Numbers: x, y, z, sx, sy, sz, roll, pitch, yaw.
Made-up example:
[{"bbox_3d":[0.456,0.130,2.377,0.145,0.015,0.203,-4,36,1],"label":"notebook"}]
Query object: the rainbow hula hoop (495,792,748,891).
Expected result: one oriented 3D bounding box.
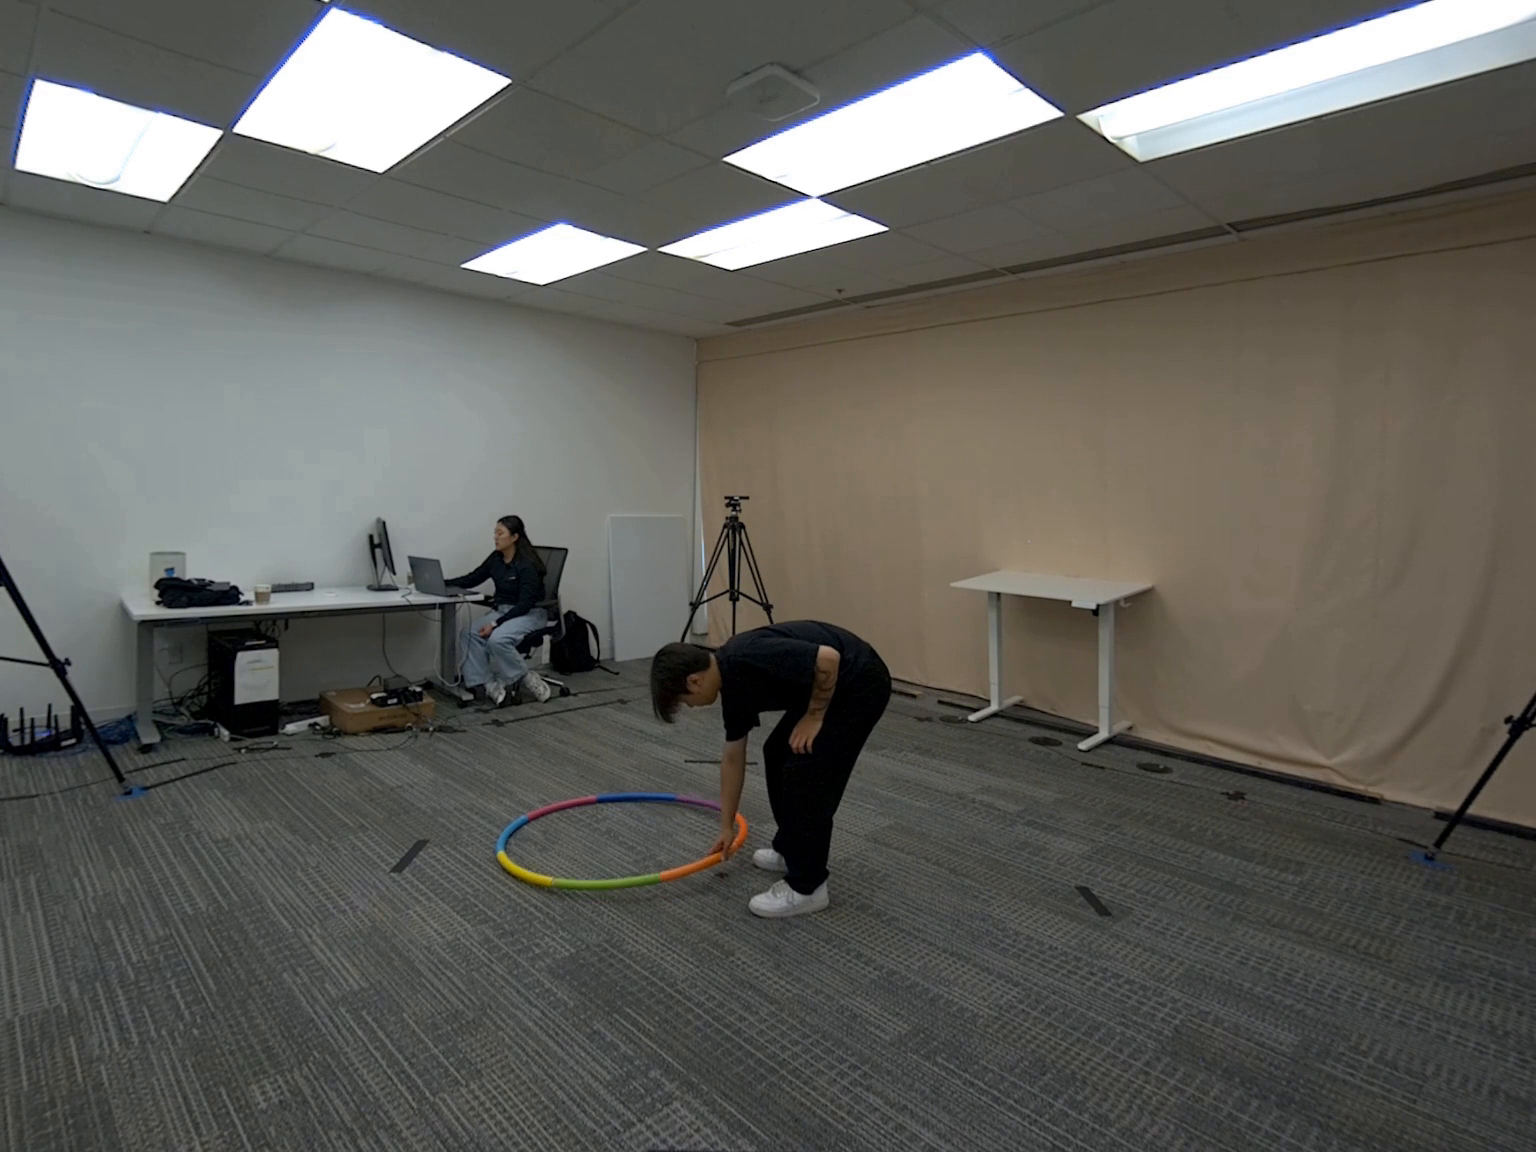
[{"bbox_3d":[-0.578,1.021,3.359,0.978,0.035,0.981,-1,3,-1],"label":"rainbow hula hoop"}]
